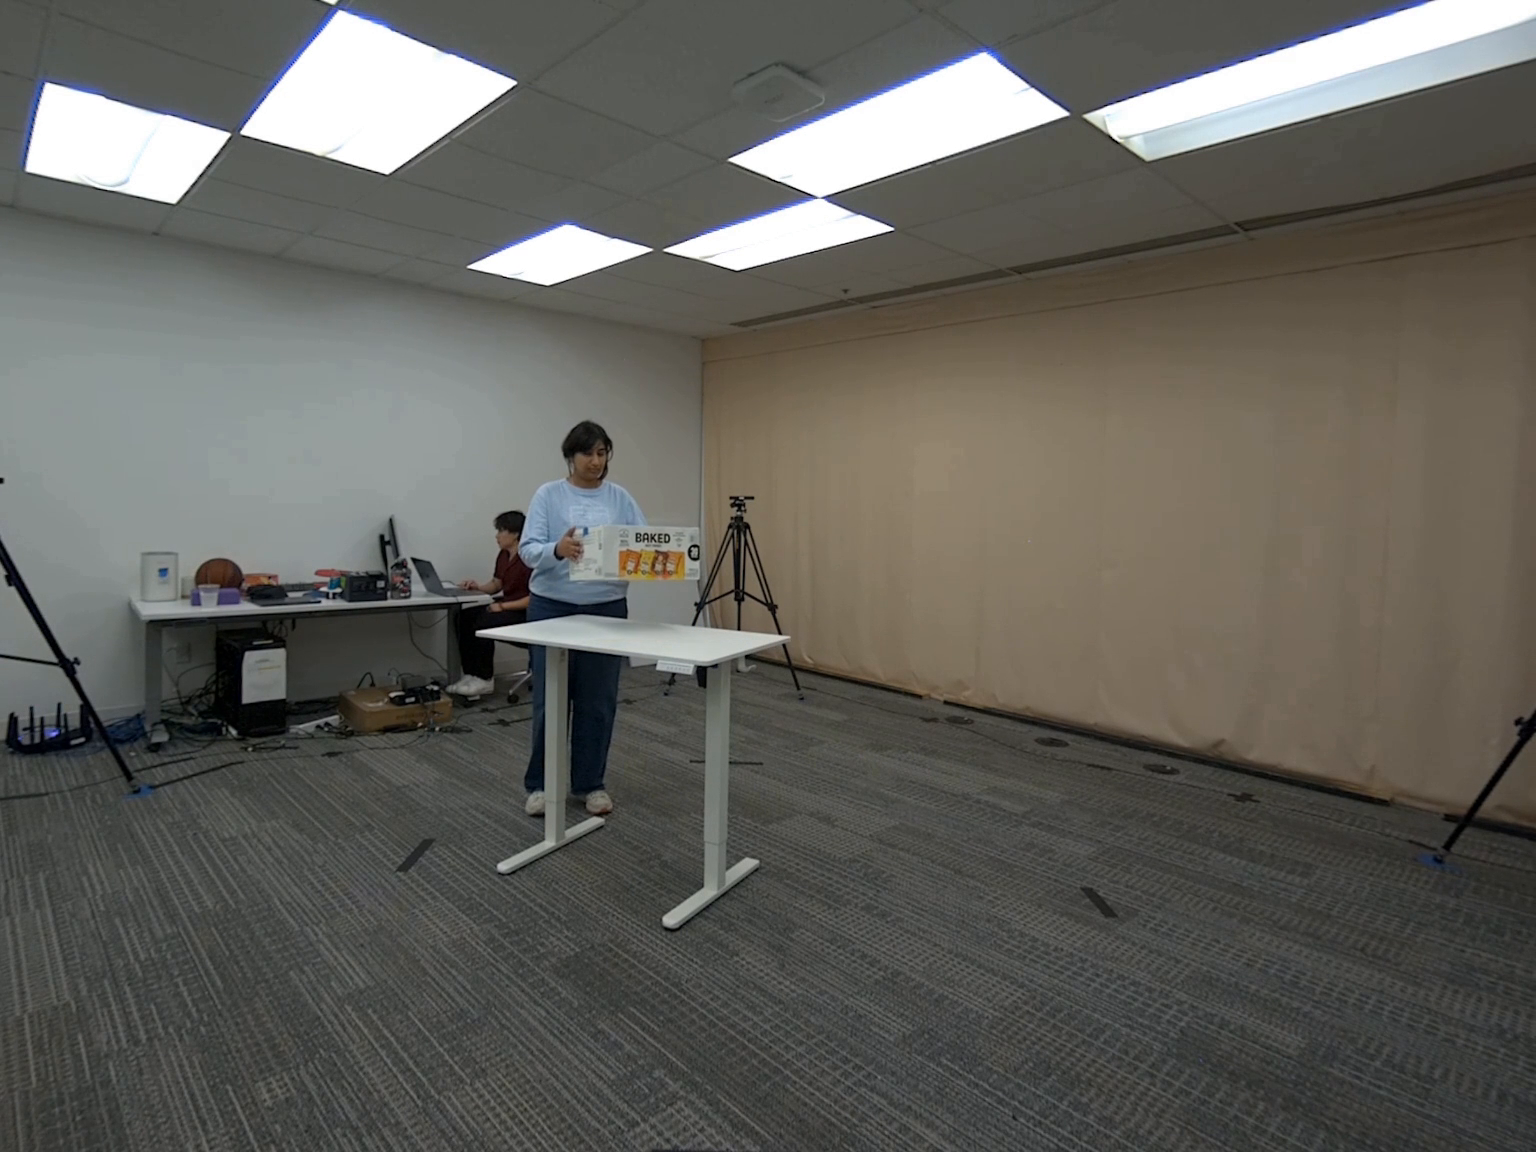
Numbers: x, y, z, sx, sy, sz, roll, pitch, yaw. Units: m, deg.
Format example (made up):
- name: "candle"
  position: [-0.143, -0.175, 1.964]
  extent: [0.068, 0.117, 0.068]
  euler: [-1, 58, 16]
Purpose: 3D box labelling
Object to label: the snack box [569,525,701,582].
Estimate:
- name: "snack box"
  position: [-0.533, -0.079, 3.293]
  extent: [0.396, 0.206, 0.347]
  euler: [0, -2, -33]
